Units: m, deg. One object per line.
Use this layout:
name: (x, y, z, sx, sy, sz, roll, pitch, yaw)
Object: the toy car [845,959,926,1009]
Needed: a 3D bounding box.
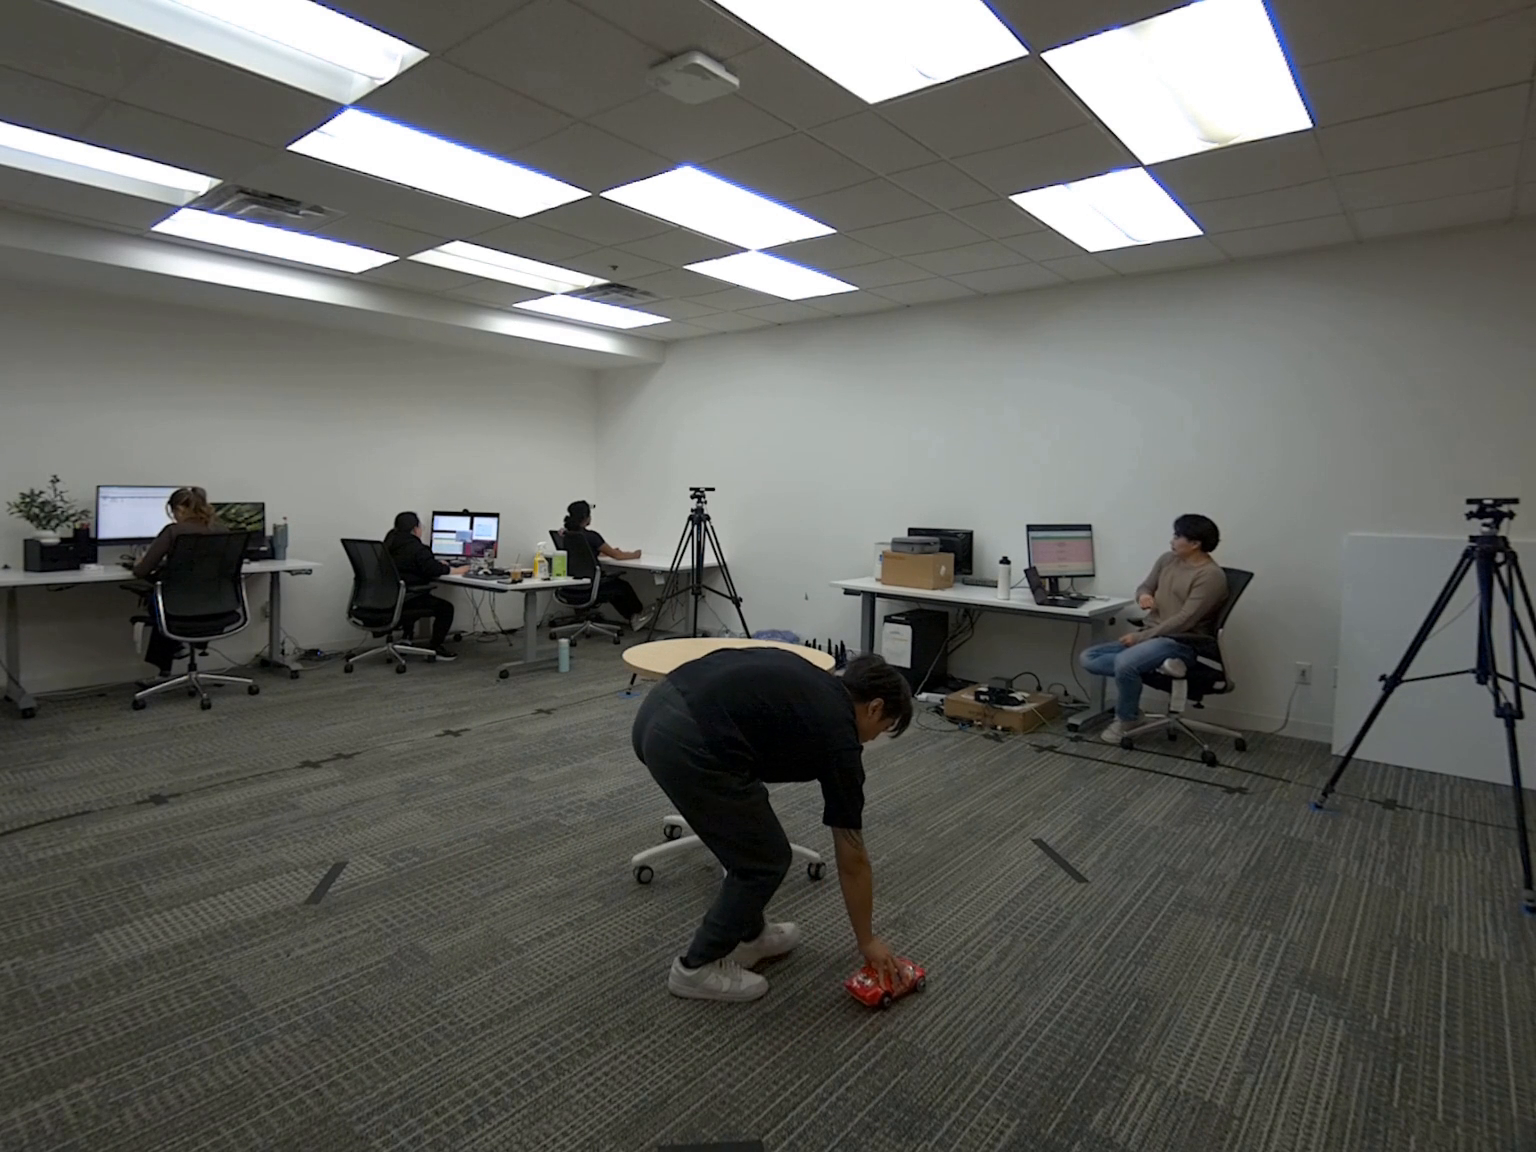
toy car: (0.318, 1.129, 2.355, 0.246, 0.083, 0.135, 10, -2, -37)
